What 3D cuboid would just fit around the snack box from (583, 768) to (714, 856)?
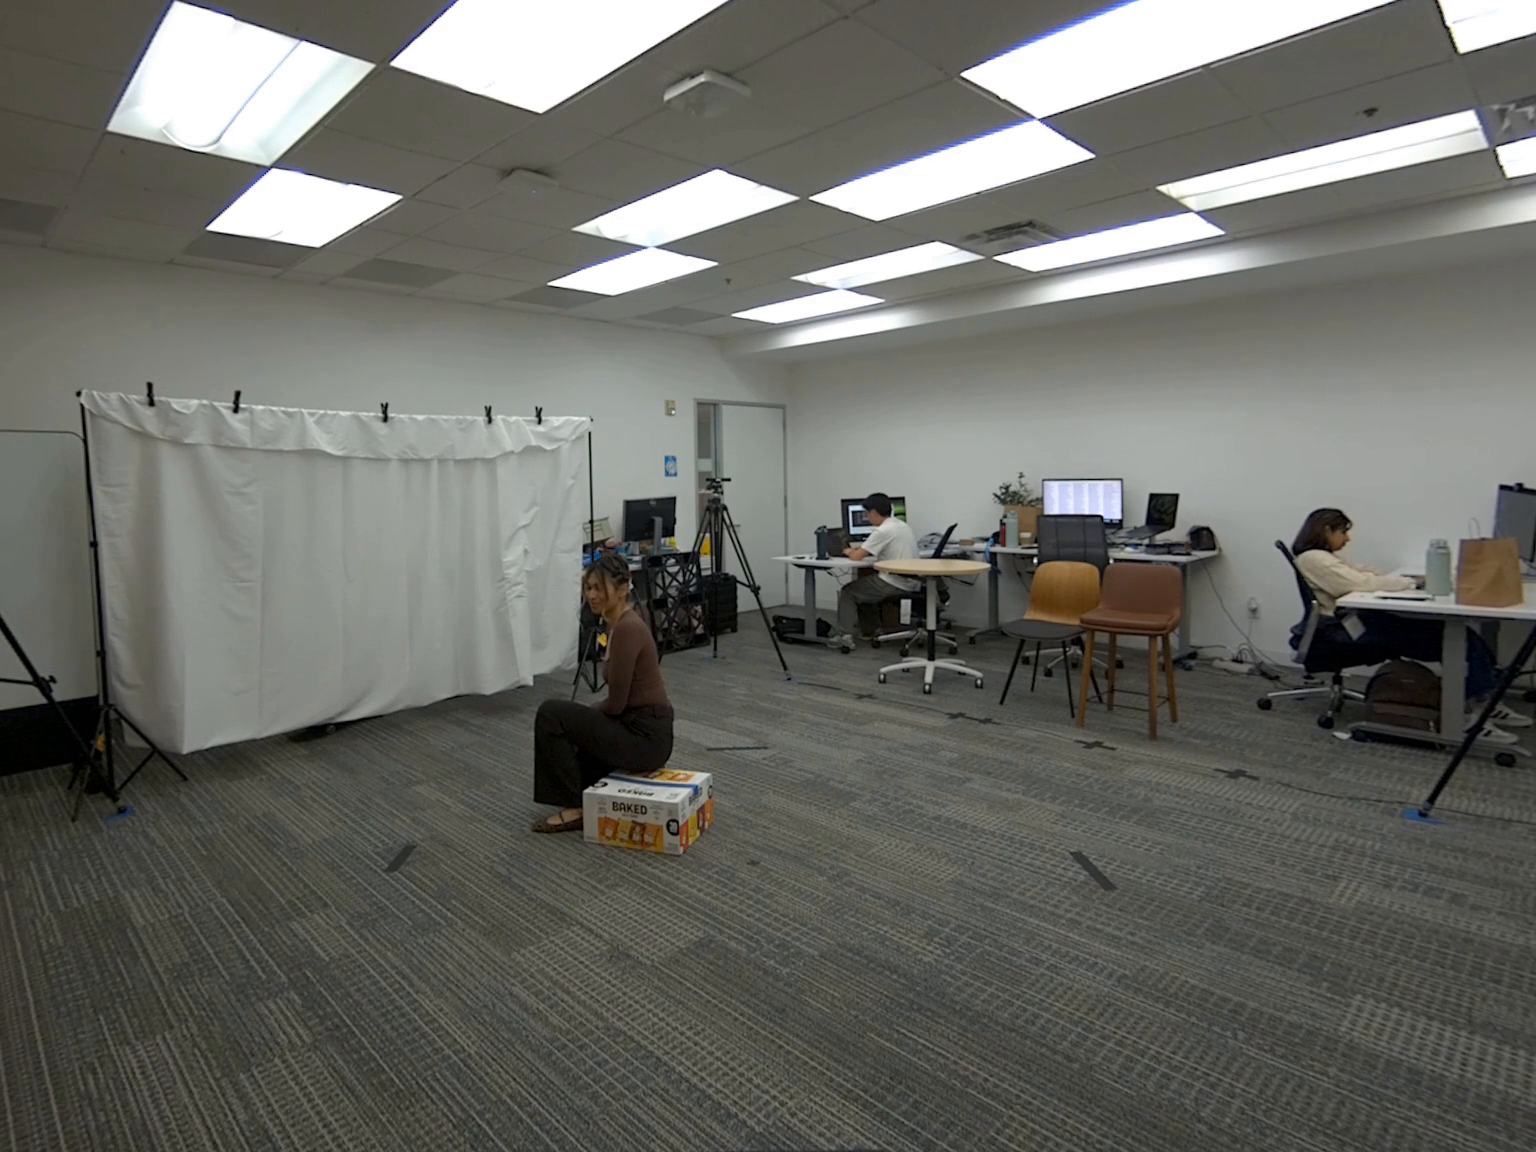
[{"bbox_3d":[-0.469,0.918,3.386,0.413,0.205,0.335,1,5,20],"label":"snack box"}]
